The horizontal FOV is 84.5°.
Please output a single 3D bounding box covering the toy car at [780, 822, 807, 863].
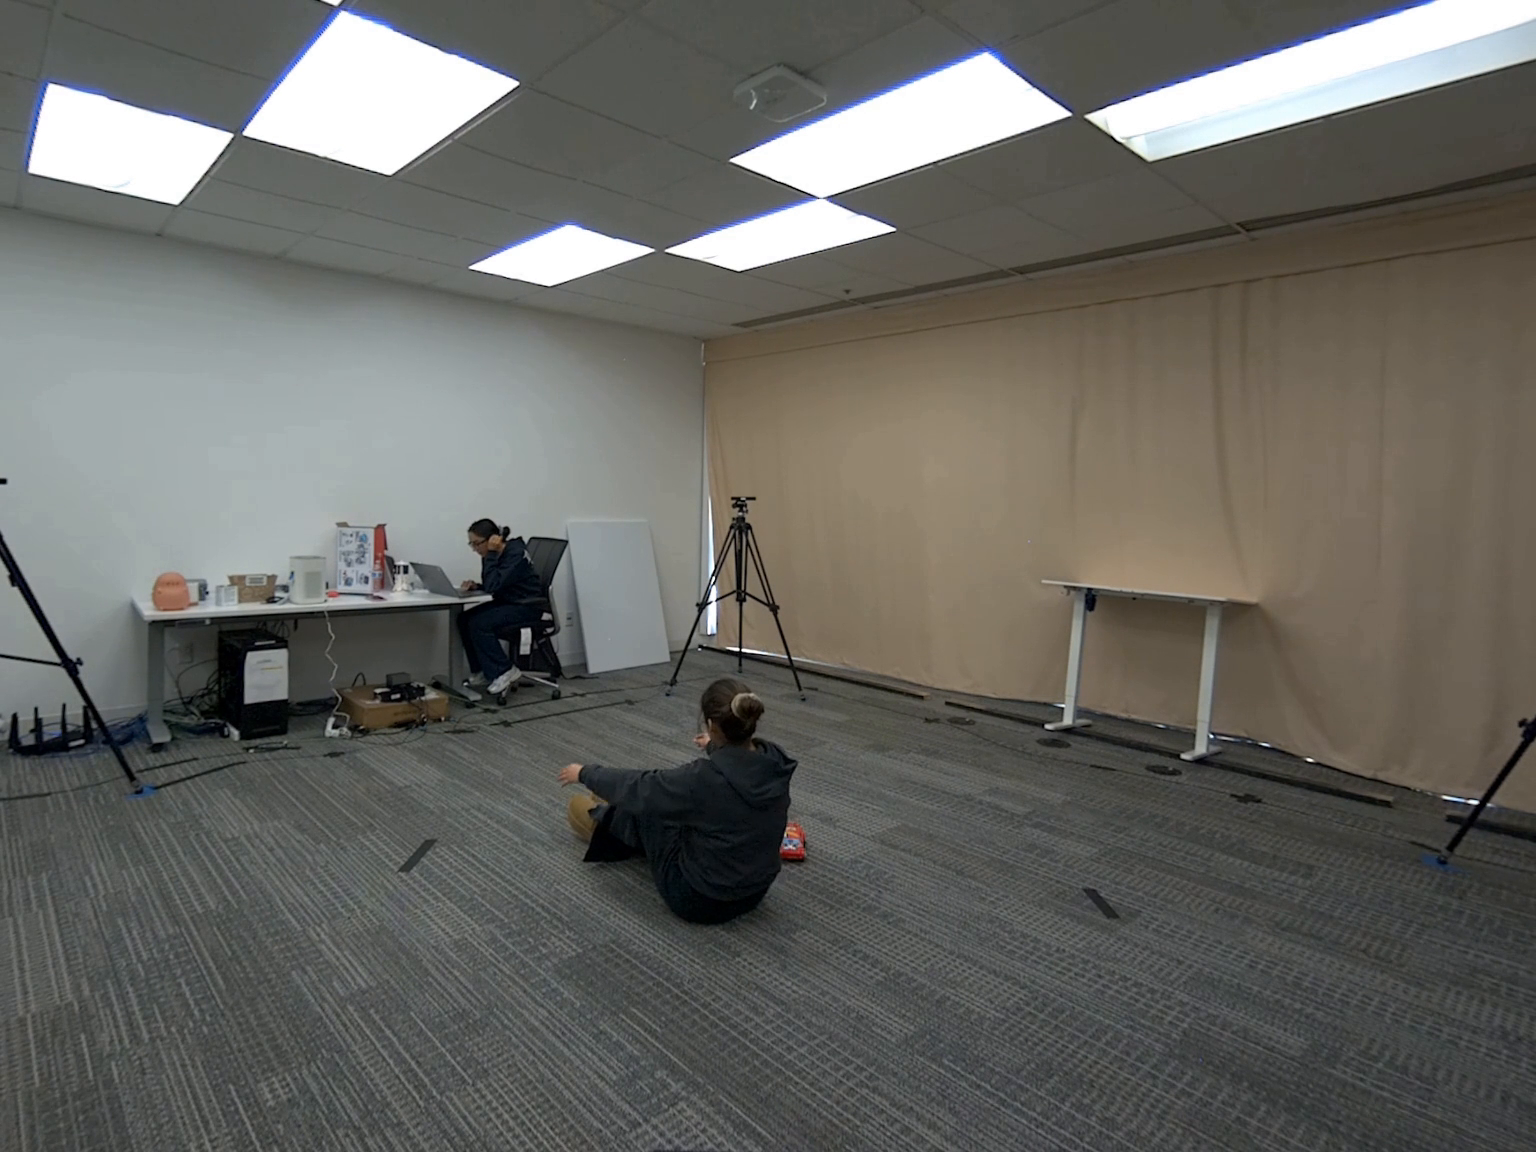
[{"bbox_3d":[0.081,1.058,3.359,0.131,0.082,0.256,1,17,3],"label":"toy car"}]
